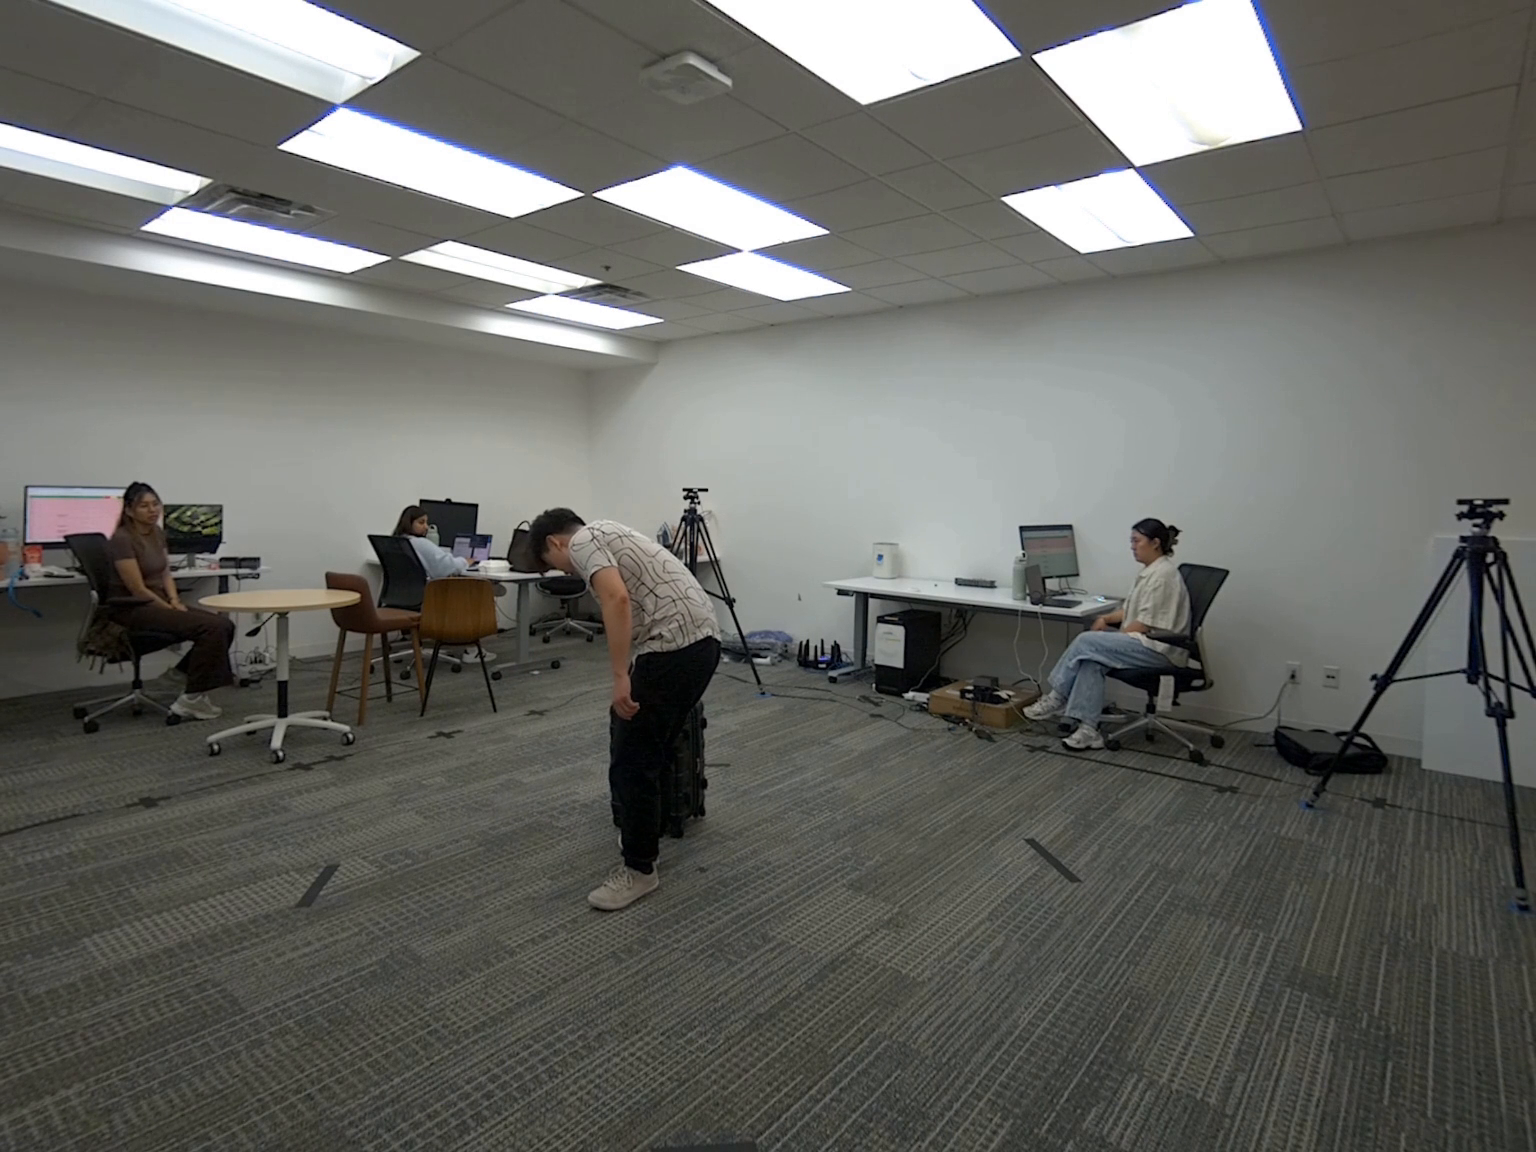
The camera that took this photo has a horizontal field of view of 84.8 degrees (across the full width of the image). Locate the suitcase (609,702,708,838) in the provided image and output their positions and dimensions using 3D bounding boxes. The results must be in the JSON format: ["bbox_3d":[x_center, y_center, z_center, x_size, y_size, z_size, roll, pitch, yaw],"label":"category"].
[{"bbox_3d":[-0.467,0.744,3.514,0.384,0.546,0.244,3,6,22],"label":"suitcase"}]
